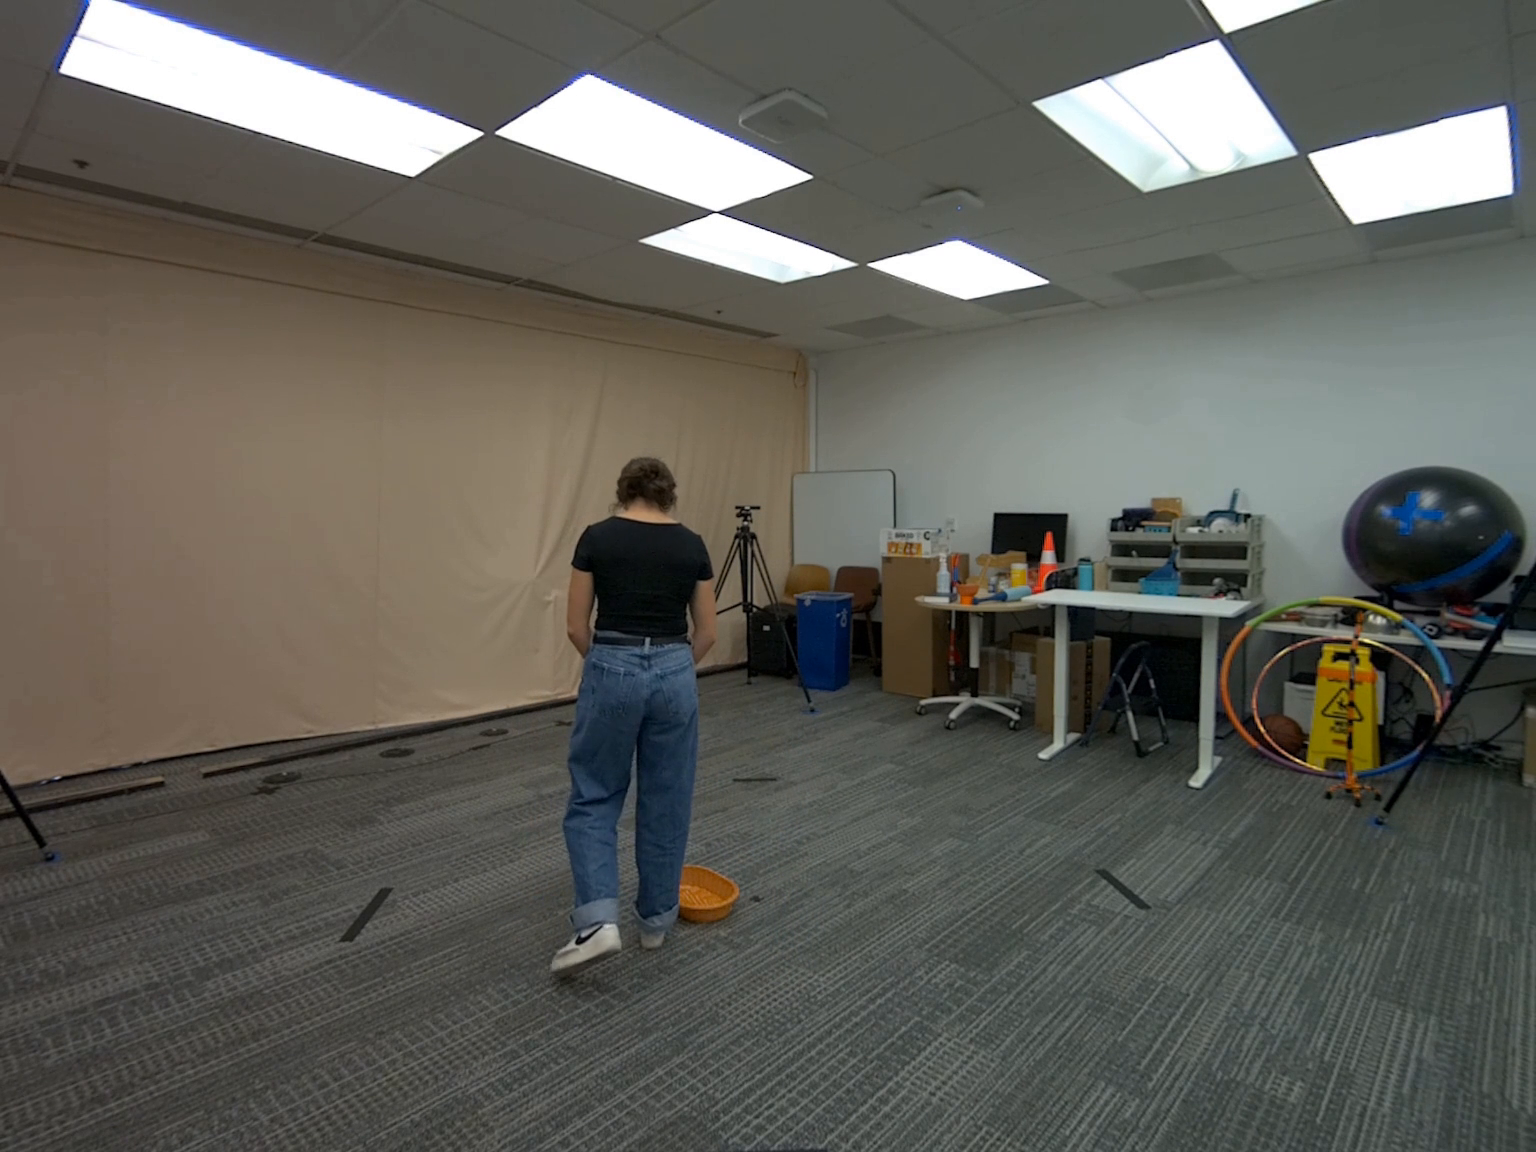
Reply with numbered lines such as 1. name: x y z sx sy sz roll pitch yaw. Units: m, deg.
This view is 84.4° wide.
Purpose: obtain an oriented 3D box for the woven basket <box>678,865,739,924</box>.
1. woven basket: -0.256 1.108 2.935 0.245 0.073 0.362 -6 7 -39
